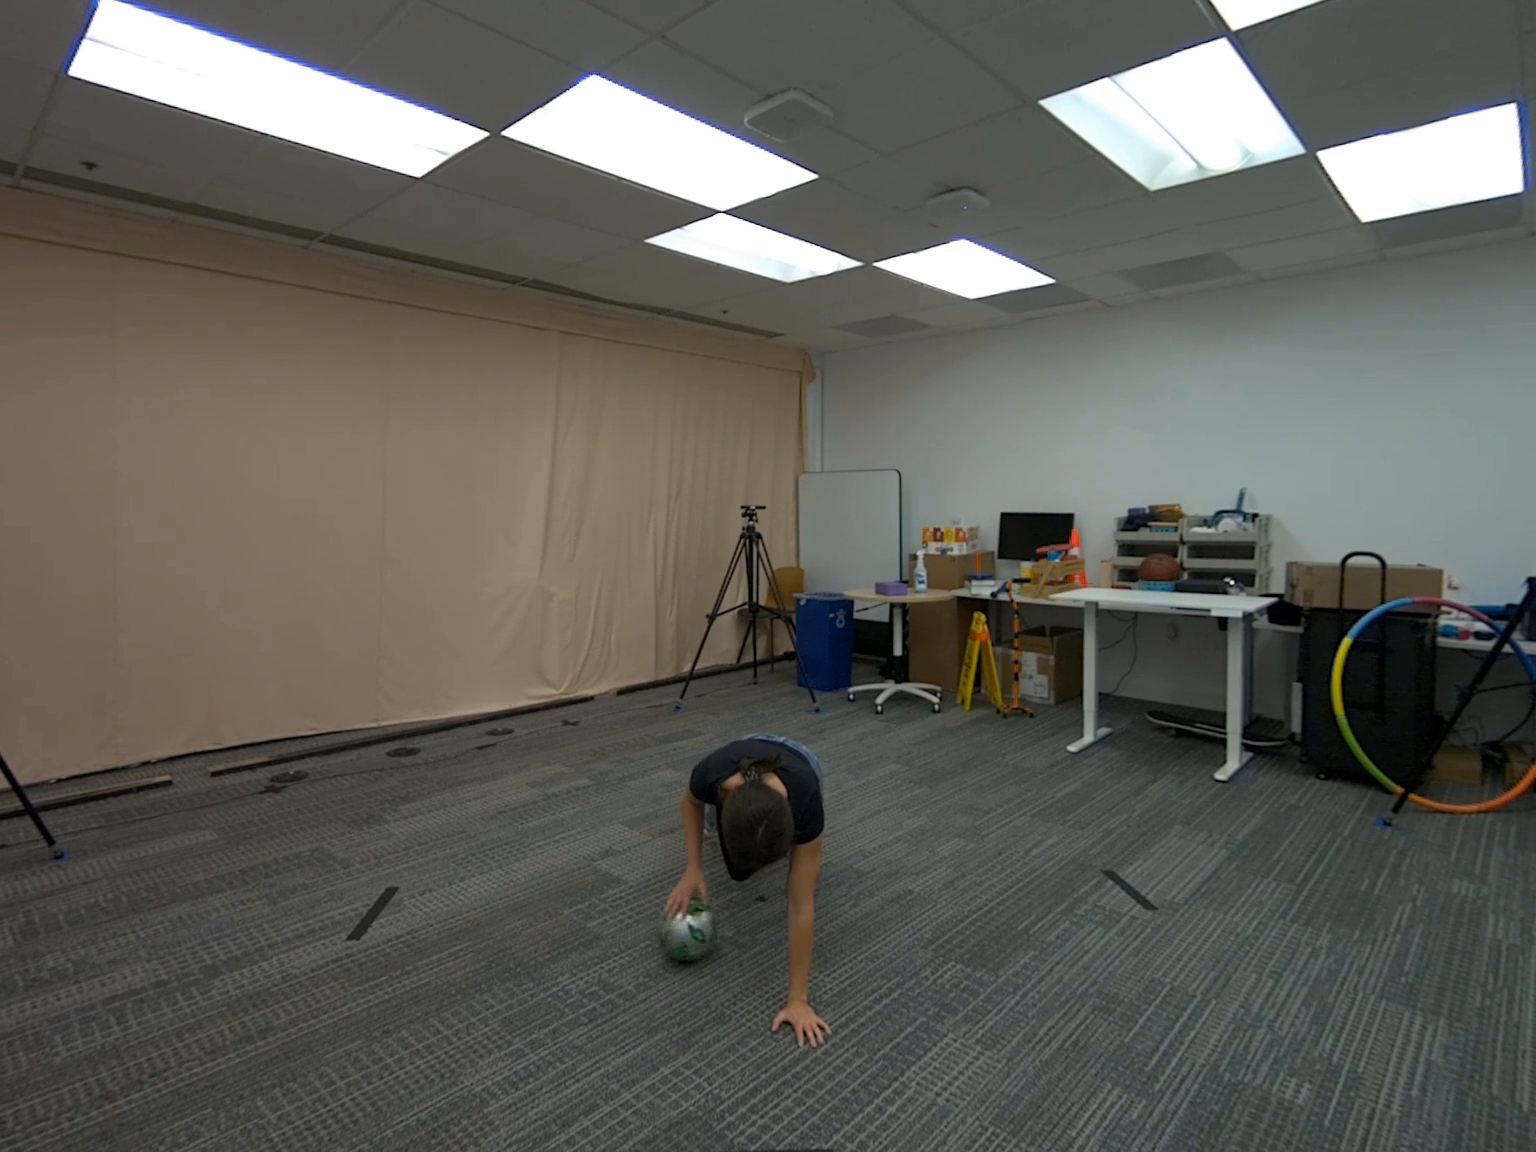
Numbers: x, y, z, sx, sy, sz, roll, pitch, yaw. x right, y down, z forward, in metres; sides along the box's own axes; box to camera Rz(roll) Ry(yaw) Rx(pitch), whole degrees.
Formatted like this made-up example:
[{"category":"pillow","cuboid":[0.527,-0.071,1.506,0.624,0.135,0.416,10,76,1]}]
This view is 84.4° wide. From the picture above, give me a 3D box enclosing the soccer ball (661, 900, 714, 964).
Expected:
[{"category":"soccer ball","cuboid":[-0.231,1.081,2.590,0.187,0.187,0.188,0,4,-2]}]
